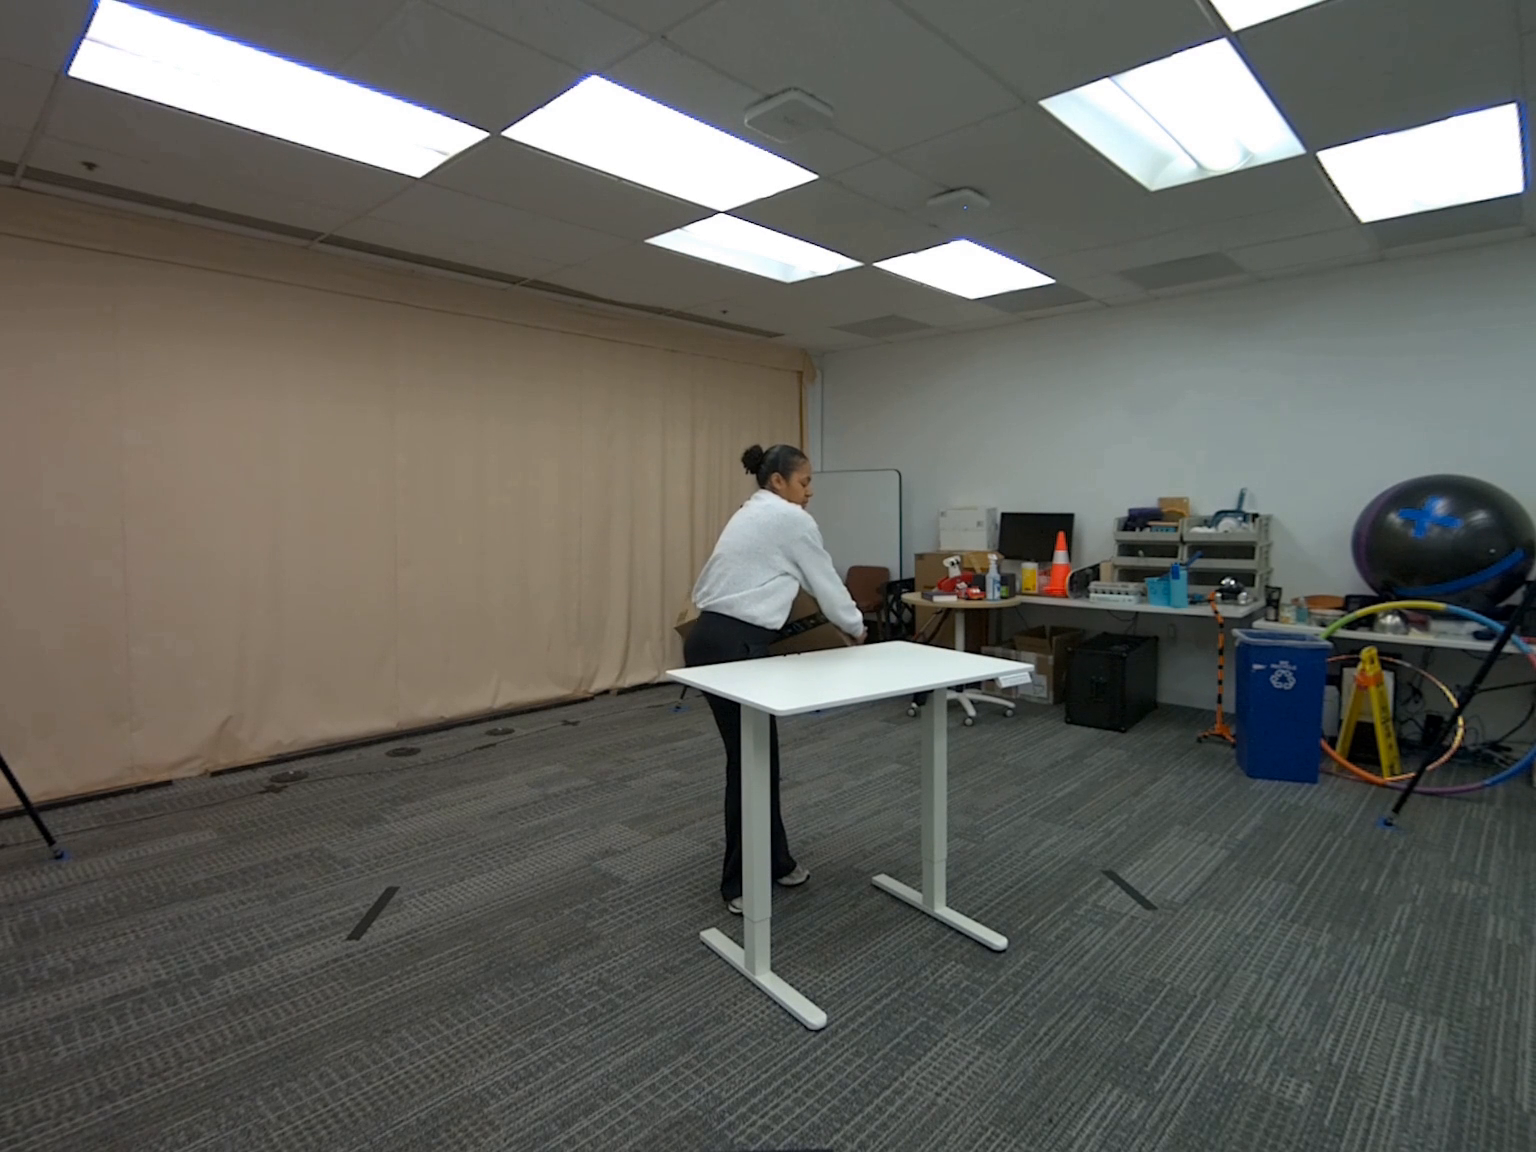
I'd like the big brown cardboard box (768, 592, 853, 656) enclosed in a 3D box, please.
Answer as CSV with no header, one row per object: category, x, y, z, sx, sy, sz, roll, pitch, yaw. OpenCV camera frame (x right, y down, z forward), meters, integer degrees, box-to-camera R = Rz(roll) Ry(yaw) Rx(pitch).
big brown cardboard box,0.011,0.177,3.281,0.599,0.407,0.235,-24,29,28
